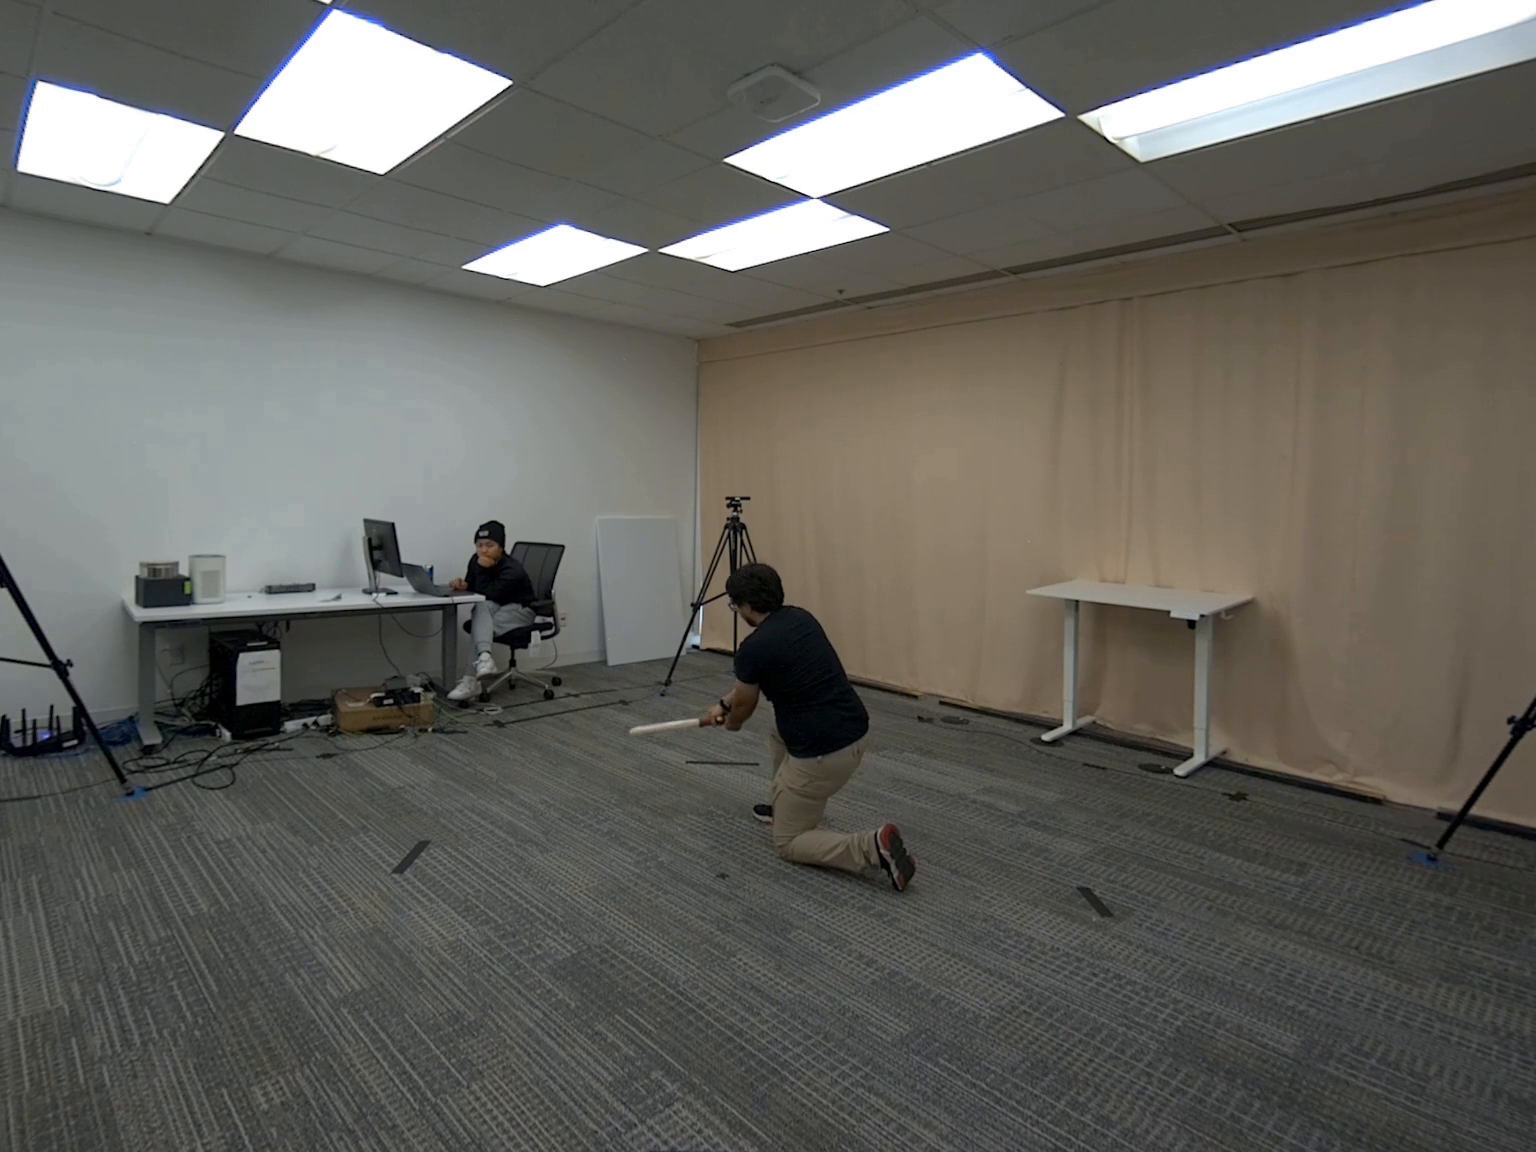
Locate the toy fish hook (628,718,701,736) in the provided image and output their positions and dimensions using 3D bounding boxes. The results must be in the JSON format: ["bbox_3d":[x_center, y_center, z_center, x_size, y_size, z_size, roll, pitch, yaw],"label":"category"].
[{"bbox_3d":[-0.361,0.656,3.712,0.504,0.049,0.224,-6,-8,-6],"label":"toy fish hook"}]
